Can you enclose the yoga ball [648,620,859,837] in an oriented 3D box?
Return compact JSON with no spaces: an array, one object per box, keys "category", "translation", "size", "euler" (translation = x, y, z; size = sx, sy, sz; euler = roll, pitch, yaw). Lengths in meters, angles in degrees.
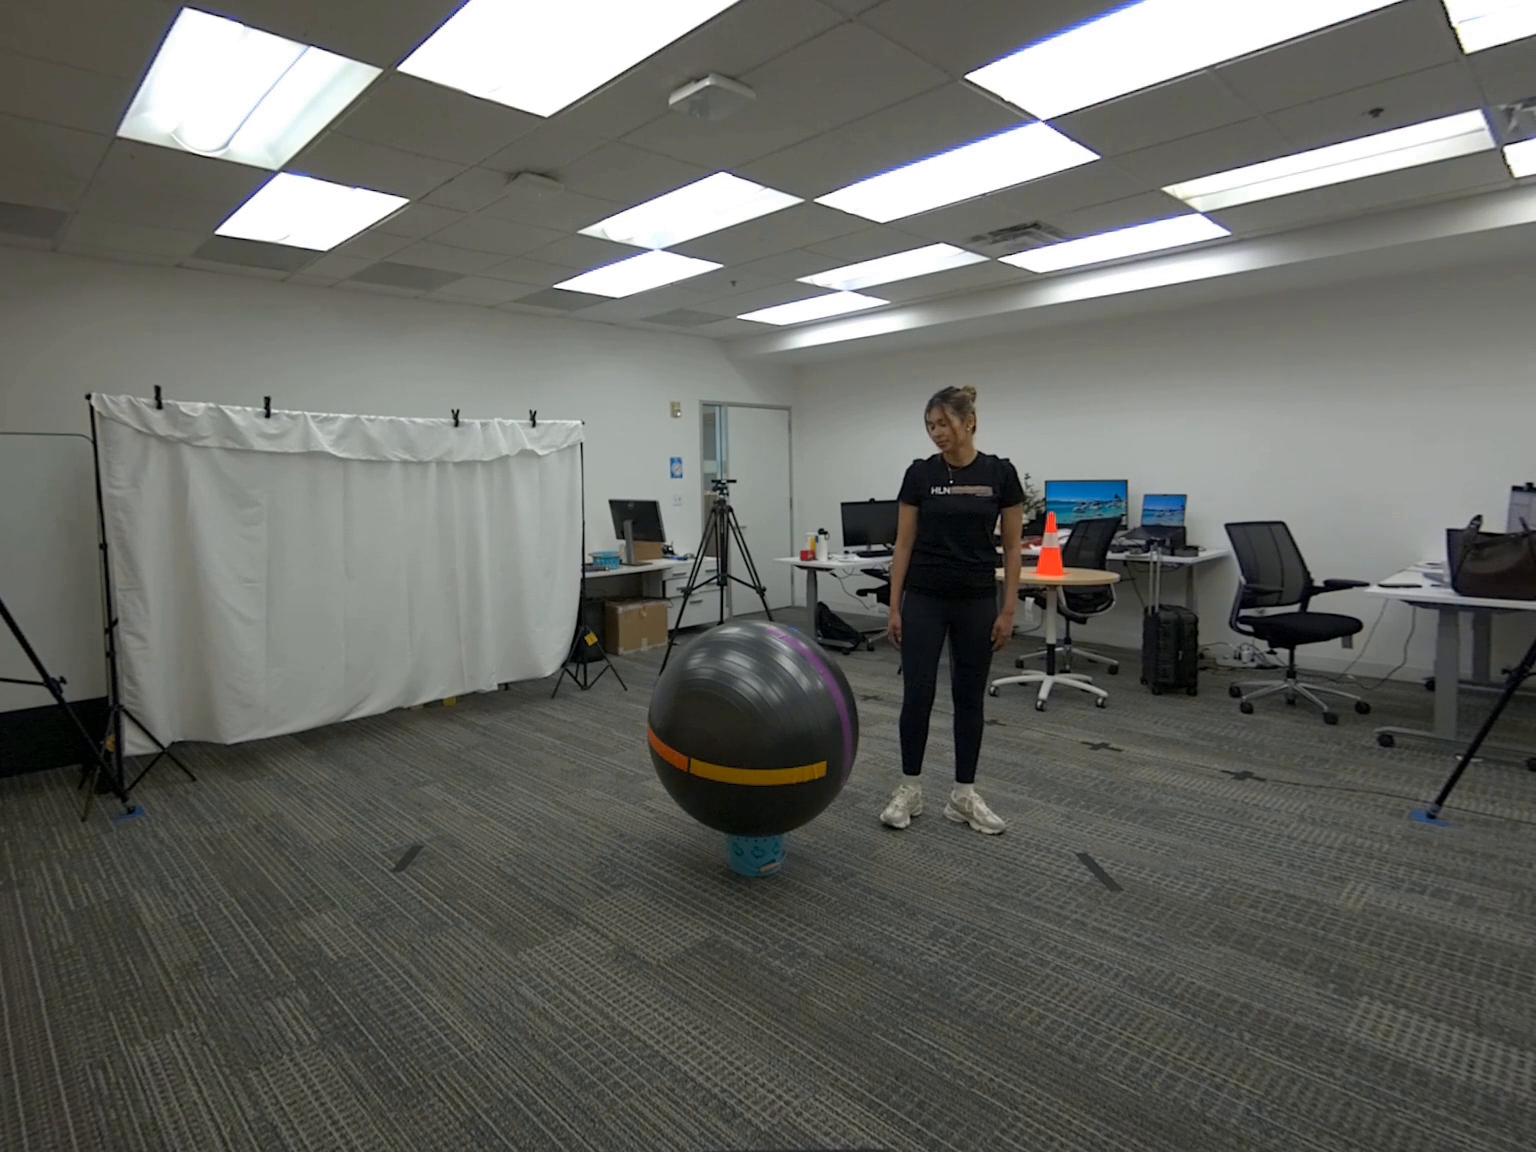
[{"category":"yoga ball","translation":[-0.052,0.537,3.073],"size":[0.757,0.755,0.762],"euler":[-1,5,-2]}]
